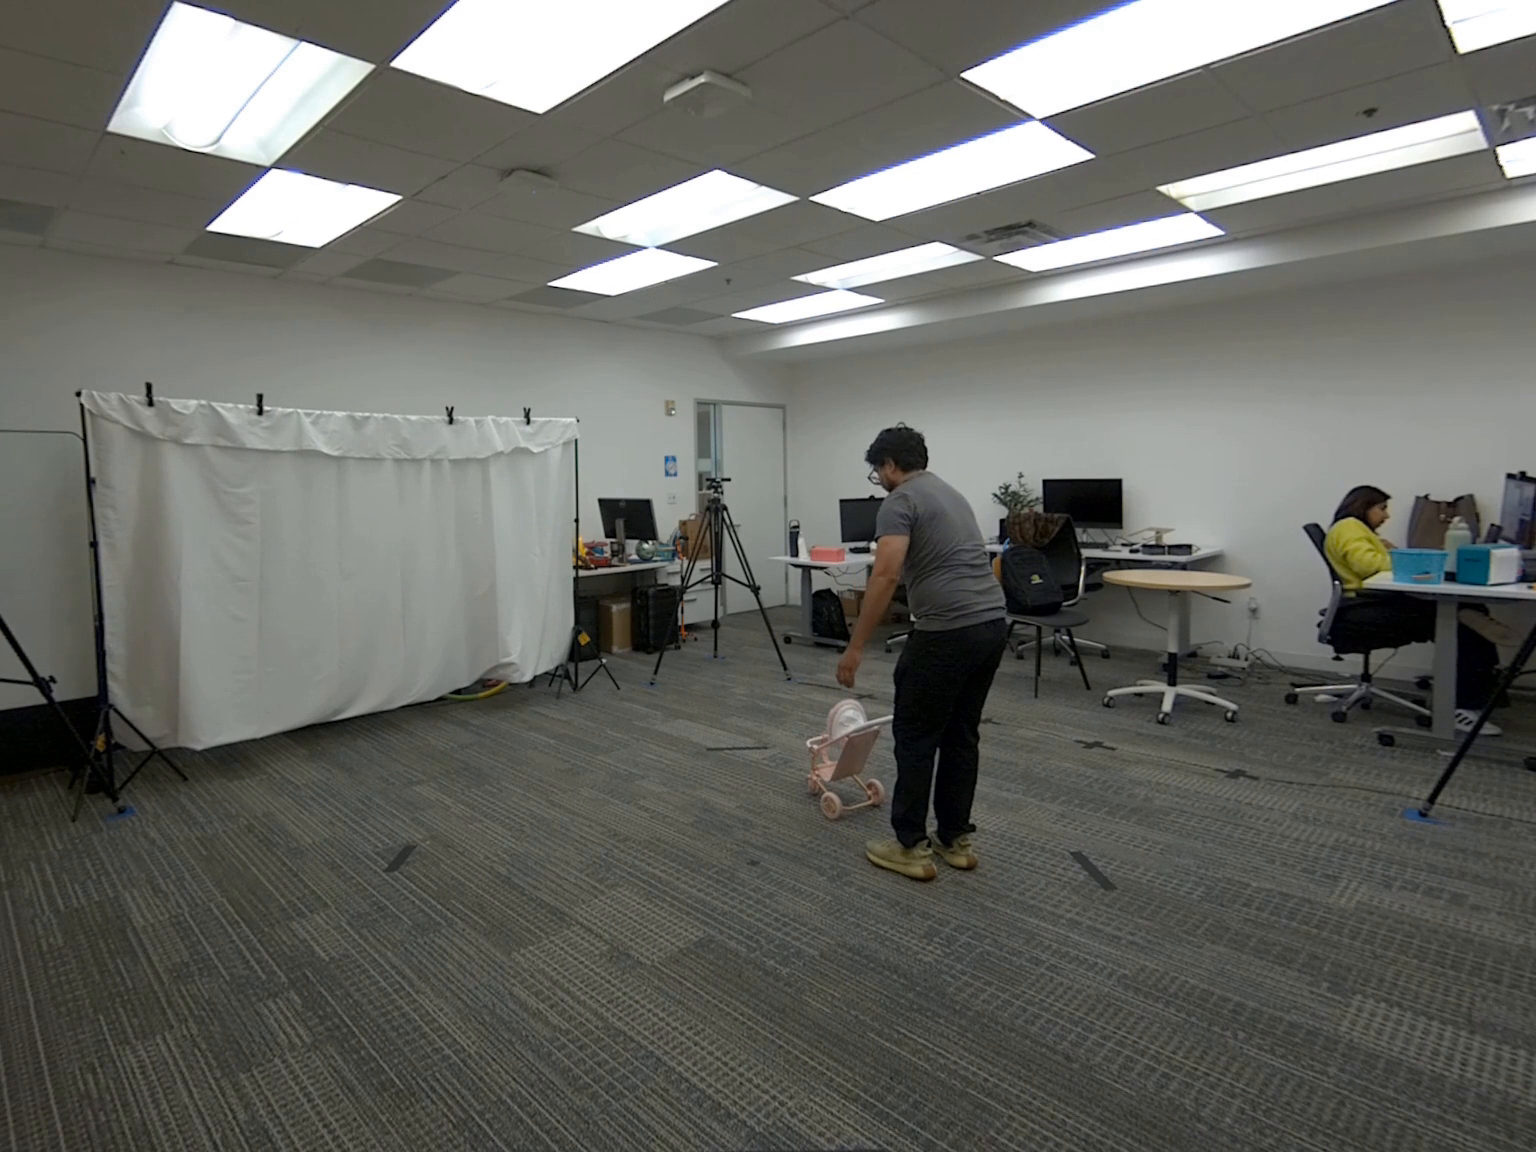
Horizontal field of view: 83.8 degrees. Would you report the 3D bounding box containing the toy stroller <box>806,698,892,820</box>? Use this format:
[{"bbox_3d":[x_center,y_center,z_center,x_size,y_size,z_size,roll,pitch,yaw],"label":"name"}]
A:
[{"bbox_3d":[0.322,0.756,3.605,0.274,0.528,0.354,-3,21,-33],"label":"toy stroller"}]
